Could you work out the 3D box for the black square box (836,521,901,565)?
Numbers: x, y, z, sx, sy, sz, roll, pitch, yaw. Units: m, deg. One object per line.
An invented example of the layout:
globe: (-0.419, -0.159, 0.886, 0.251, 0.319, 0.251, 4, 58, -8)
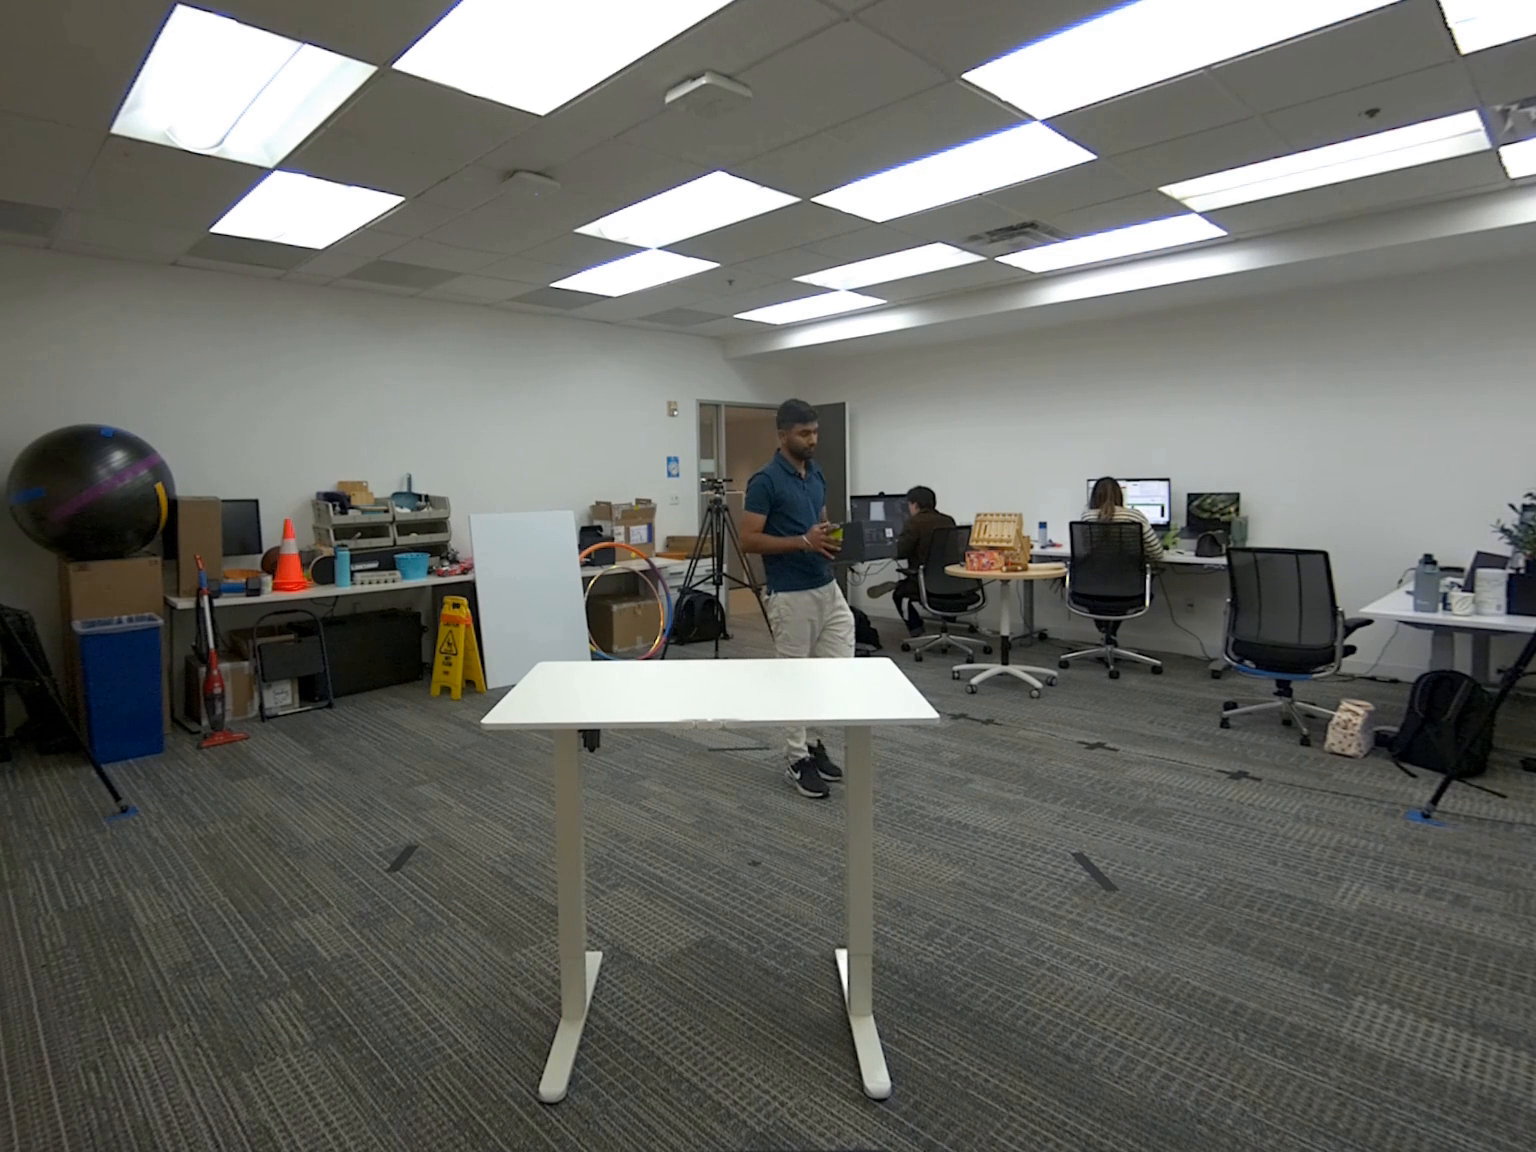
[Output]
black square box: (0.373, -0.144, 3.601, 0.211, 0.156, 0.233, -3, -2, -41)
